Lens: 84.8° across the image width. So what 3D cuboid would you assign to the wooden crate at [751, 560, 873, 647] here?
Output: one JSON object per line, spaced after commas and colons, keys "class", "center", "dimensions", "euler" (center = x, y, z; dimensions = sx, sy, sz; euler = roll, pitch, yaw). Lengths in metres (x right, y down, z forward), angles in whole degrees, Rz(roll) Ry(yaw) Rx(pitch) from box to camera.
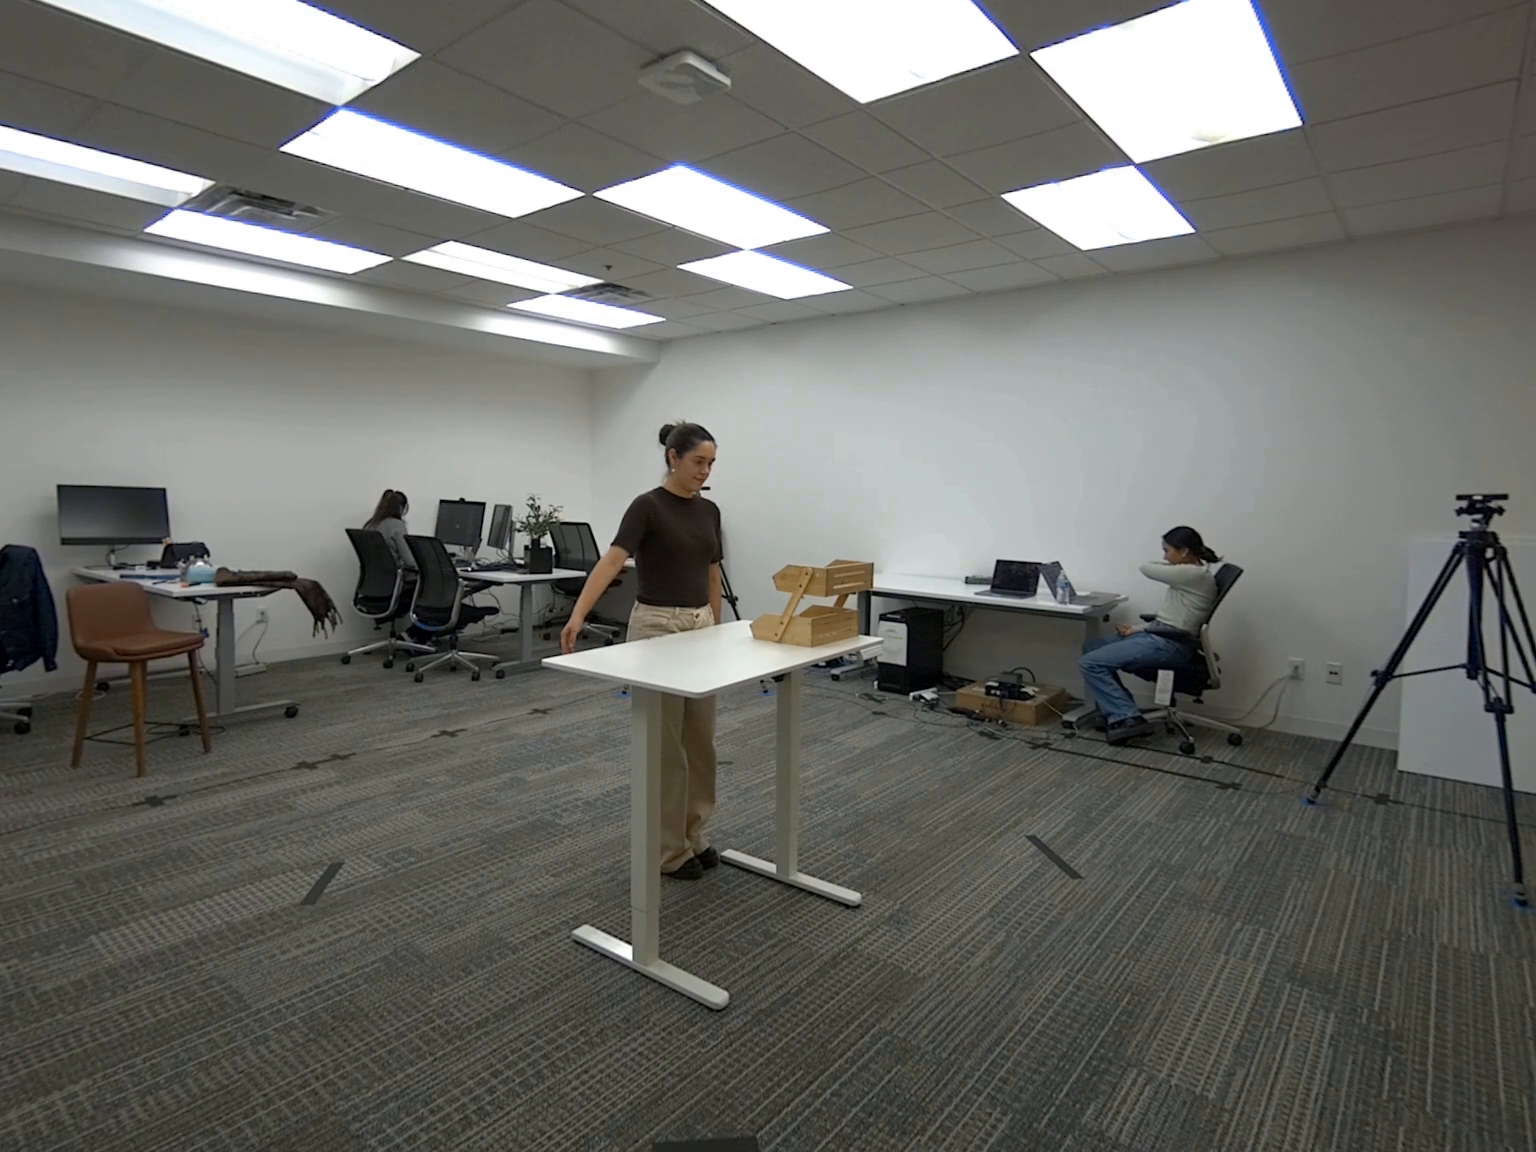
{"class": "wooden crate", "center": [0.138, 0.075, 2.883], "dimensions": [0.312, 0.272, 0.315], "euler": [6, 7, 37]}
